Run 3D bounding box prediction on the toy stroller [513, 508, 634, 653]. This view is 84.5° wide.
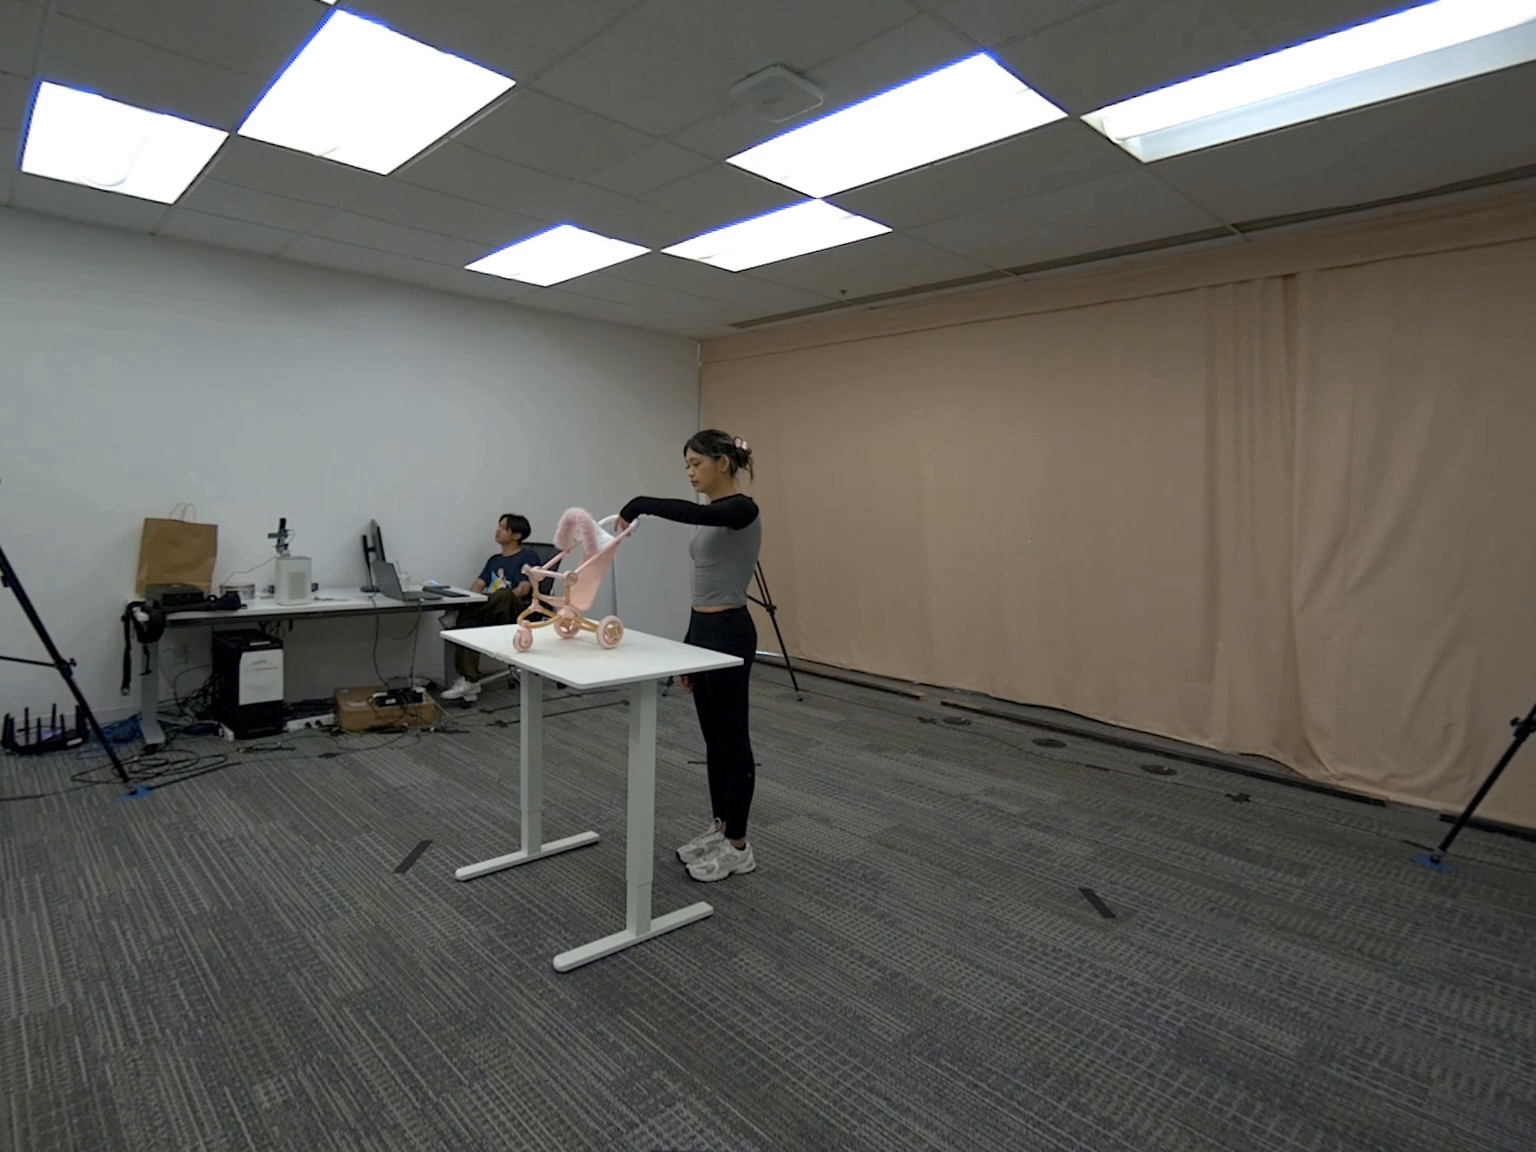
[{"bbox_3d":[-0.668,0.013,2.840,0.331,0.537,0.288,17,-9,-41],"label":"toy stroller"}]
